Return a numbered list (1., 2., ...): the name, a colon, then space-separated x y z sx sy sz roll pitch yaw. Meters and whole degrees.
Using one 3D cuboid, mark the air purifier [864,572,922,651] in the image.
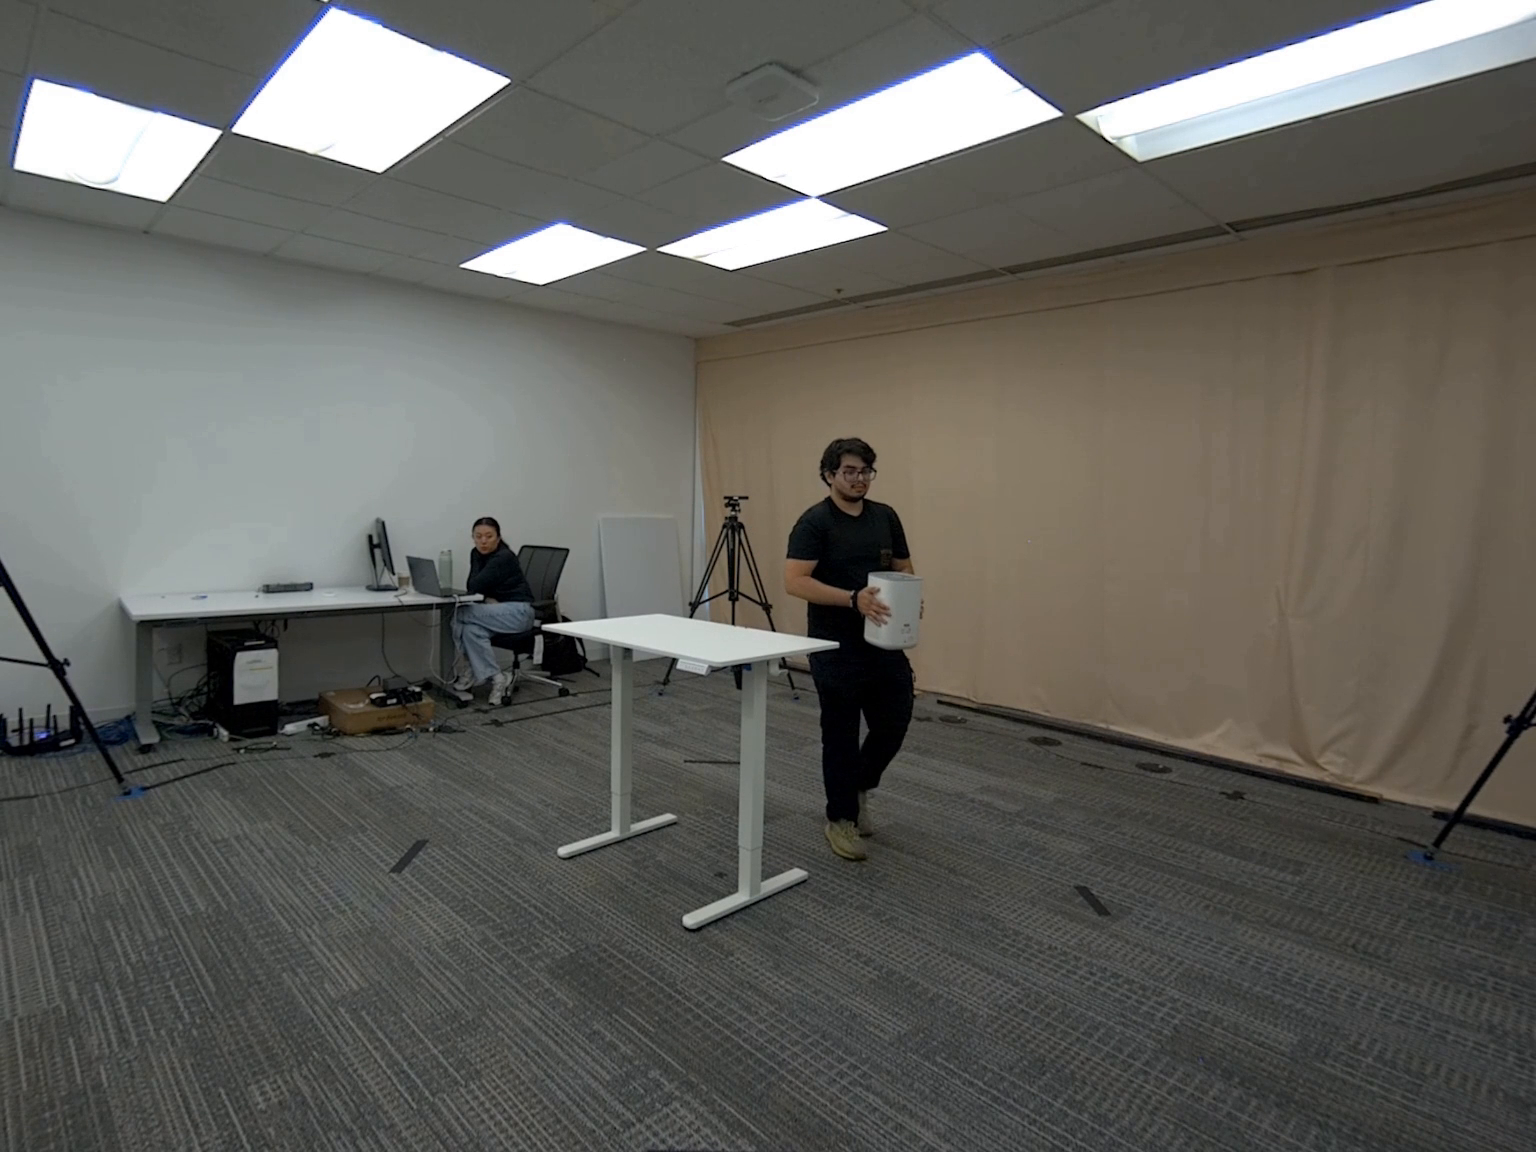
1. air purifier: 0.454 0.129 3.125 0.168 0.264 0.176 -1 8 -28
